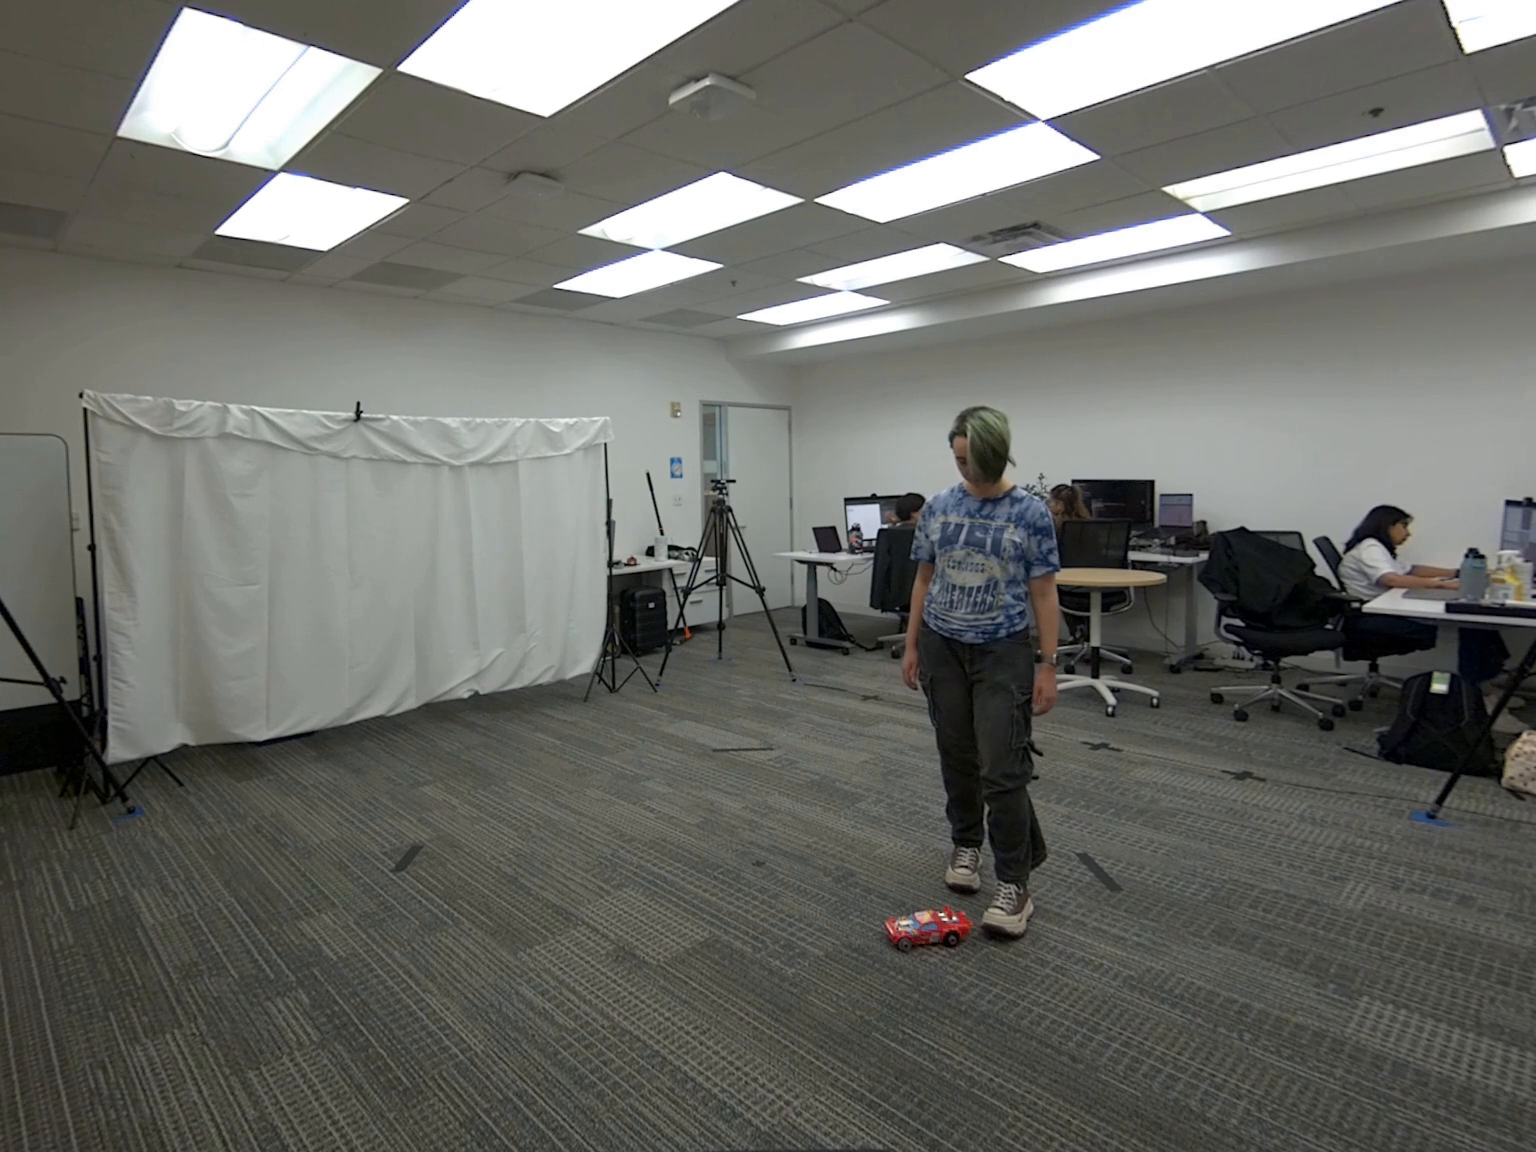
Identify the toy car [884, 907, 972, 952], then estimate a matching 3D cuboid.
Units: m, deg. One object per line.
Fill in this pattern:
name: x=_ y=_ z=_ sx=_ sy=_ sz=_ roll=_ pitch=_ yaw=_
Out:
toy car: x=0.493 y=1.066 z=2.575 sx=0.253 sy=0.083 sz=0.132 roll=-13 pitch=7 yaw=-6
